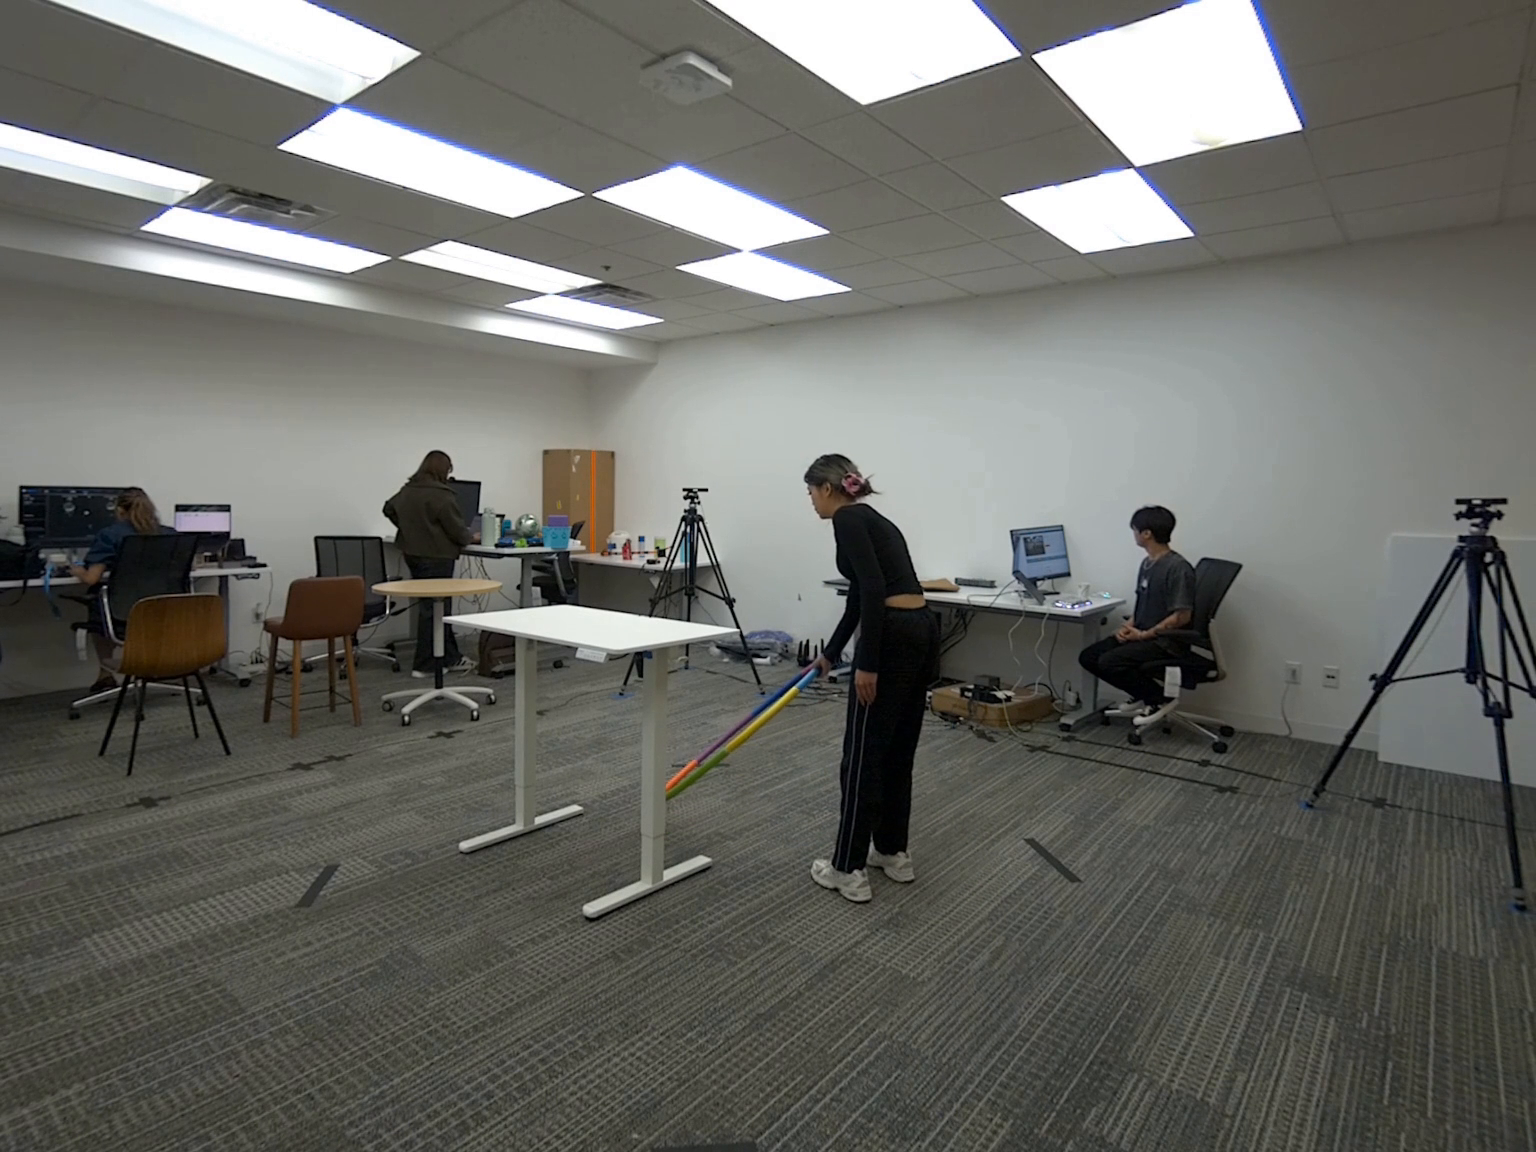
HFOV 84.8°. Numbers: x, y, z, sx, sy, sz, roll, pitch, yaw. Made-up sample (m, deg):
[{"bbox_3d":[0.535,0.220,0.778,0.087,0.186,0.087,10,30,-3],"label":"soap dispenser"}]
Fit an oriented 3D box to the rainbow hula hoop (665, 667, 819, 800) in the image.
[{"bbox_3d":[-0.131,0.678,3.752,0.976,0.036,0.970,-38,-5,-8],"label":"rainbow hula hoop"}]
